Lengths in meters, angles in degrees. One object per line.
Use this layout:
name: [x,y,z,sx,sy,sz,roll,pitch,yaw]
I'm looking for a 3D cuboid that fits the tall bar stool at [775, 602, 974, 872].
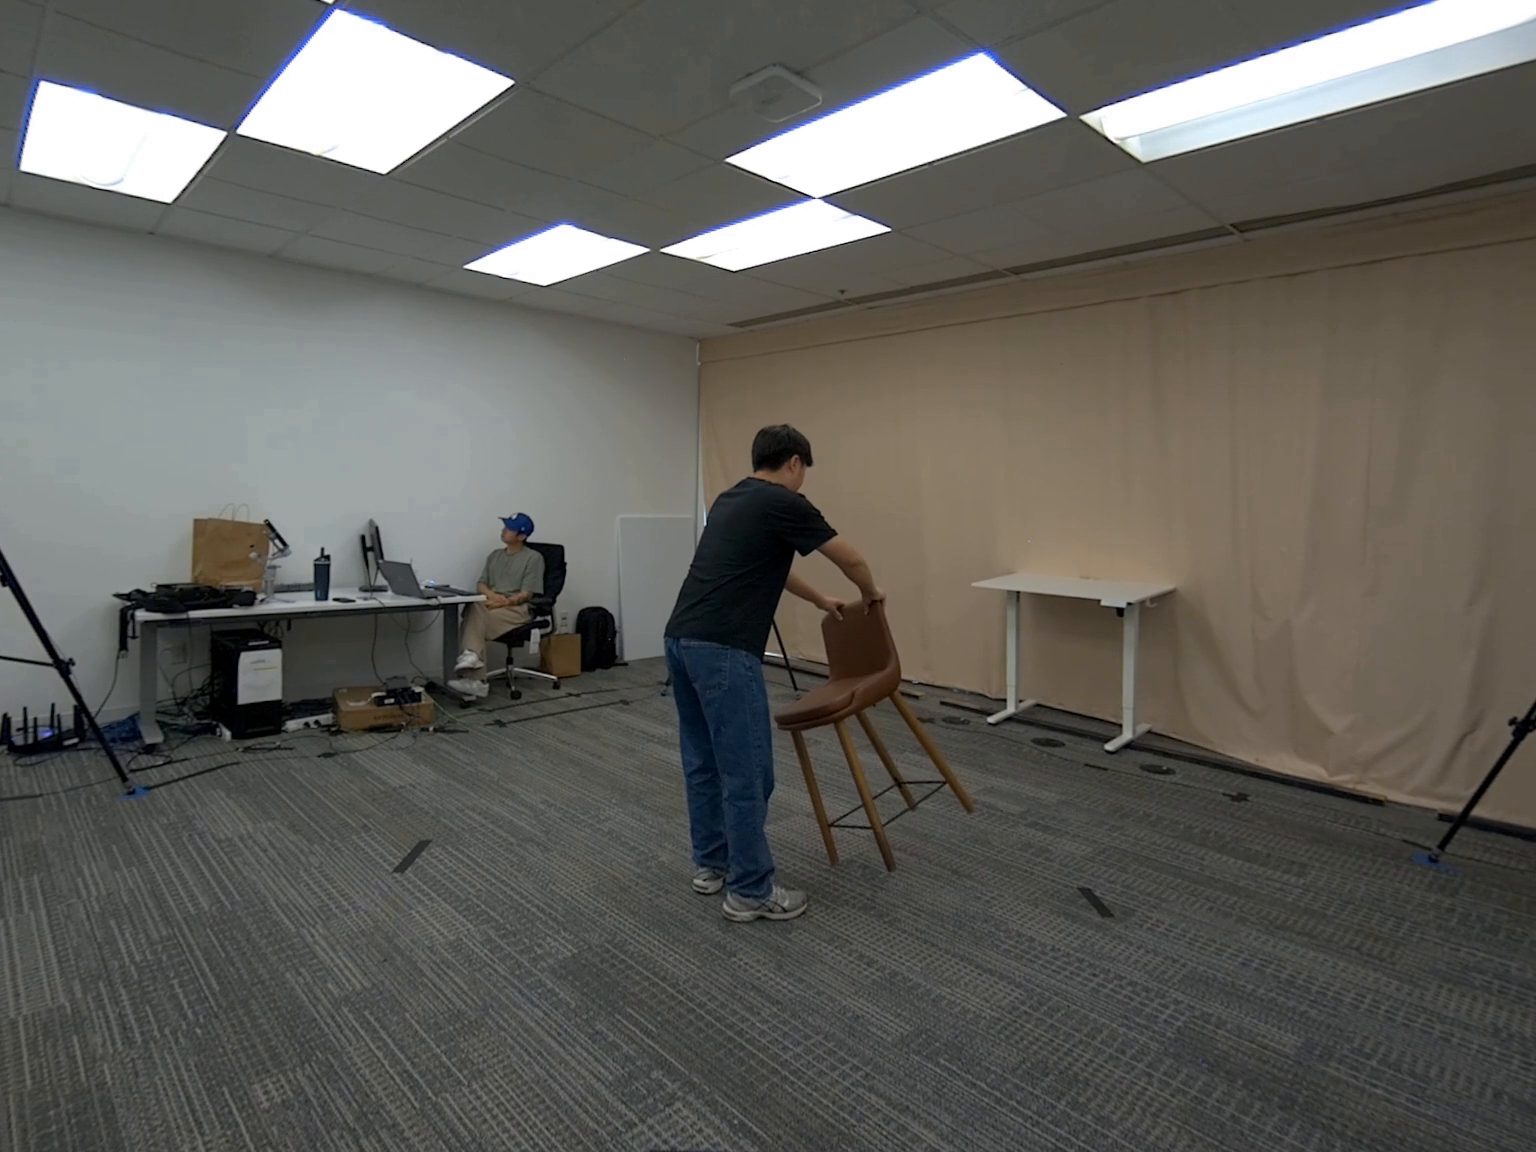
tall bar stool: [0.336,0.588,3.195,0.461,0.893,0.460,-20,-4,-30]
